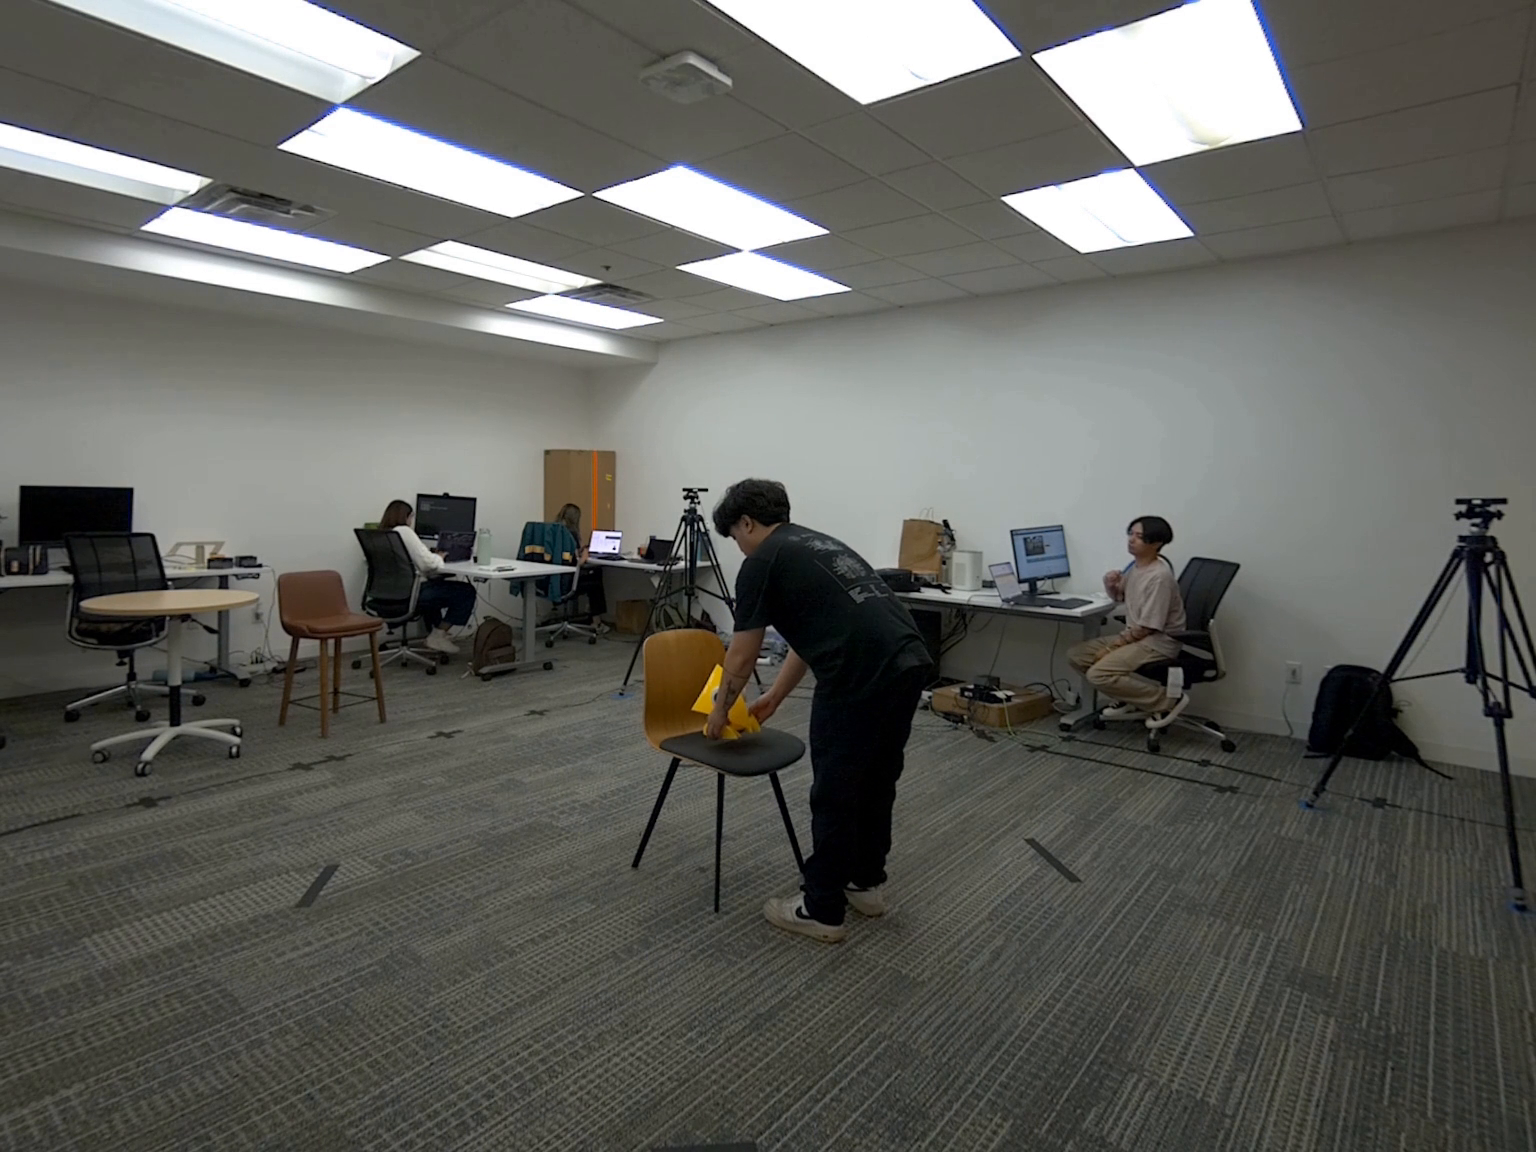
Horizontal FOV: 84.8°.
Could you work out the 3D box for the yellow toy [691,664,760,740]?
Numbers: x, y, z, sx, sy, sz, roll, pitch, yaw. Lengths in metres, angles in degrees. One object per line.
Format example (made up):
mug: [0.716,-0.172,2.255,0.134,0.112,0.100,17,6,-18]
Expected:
yellow toy: [-0.148,0.434,3.042,0.199,0.230,0.198,2,2,41]
